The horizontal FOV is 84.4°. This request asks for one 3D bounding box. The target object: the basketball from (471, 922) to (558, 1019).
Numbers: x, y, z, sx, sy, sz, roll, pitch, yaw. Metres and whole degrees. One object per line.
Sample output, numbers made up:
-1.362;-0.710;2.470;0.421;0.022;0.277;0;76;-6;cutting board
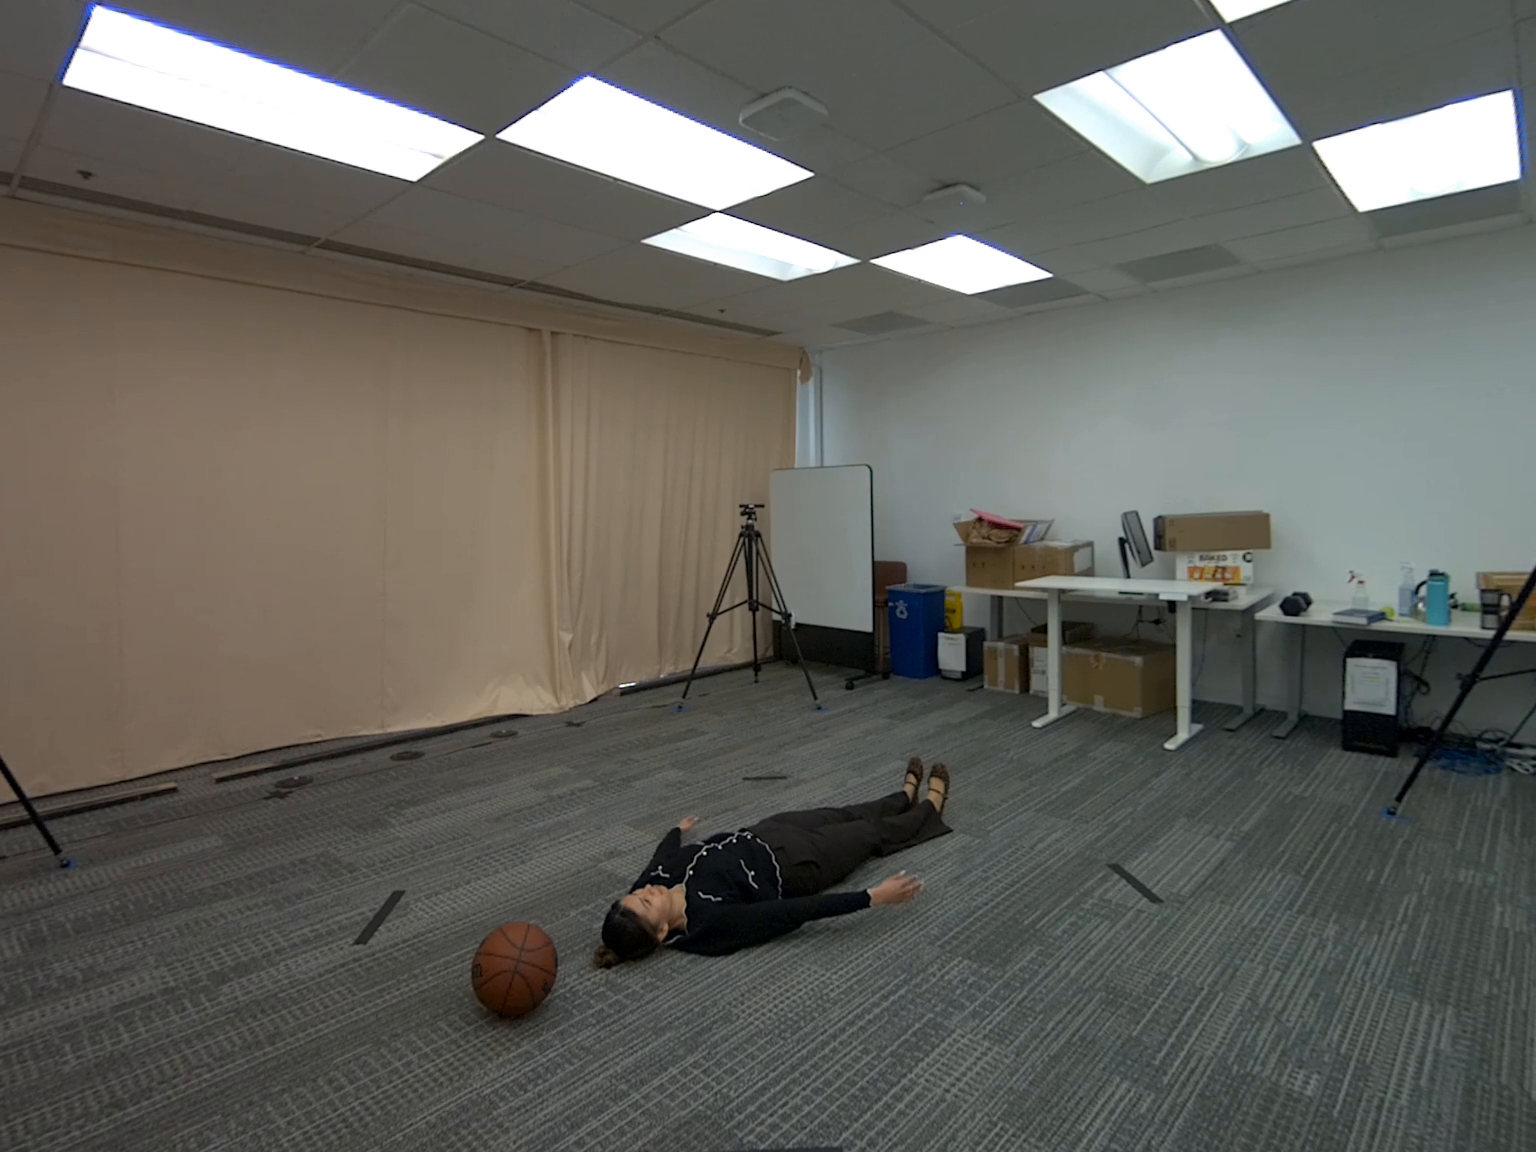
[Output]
-0.704;1.090;2.342;0.236;0.235;0.237;-1;4;-2;basketball
